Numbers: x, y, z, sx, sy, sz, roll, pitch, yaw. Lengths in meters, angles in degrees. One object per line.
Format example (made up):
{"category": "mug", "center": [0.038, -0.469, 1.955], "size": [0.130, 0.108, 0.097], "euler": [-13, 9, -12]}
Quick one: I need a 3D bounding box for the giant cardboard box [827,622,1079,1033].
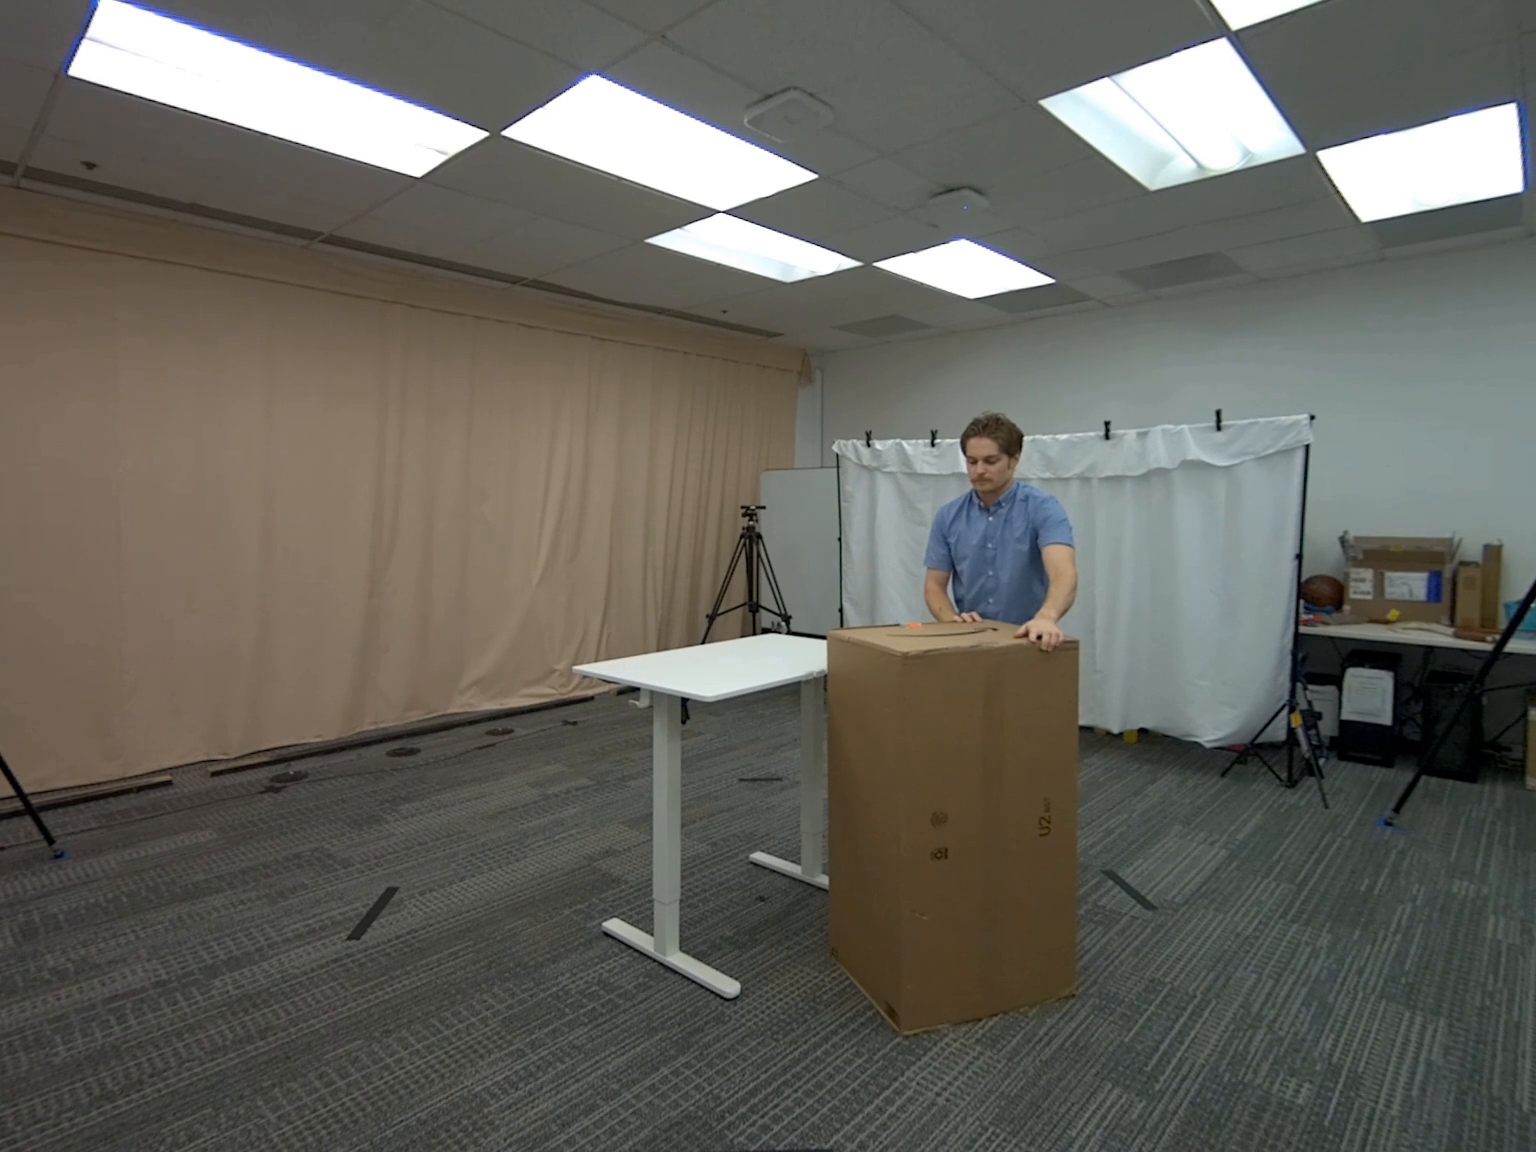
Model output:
{"category": "giant cardboard box", "center": [0.533, 0.674, 2.467], "size": [0.566, 1.023, 0.436], "euler": [-2, 4, -20]}
